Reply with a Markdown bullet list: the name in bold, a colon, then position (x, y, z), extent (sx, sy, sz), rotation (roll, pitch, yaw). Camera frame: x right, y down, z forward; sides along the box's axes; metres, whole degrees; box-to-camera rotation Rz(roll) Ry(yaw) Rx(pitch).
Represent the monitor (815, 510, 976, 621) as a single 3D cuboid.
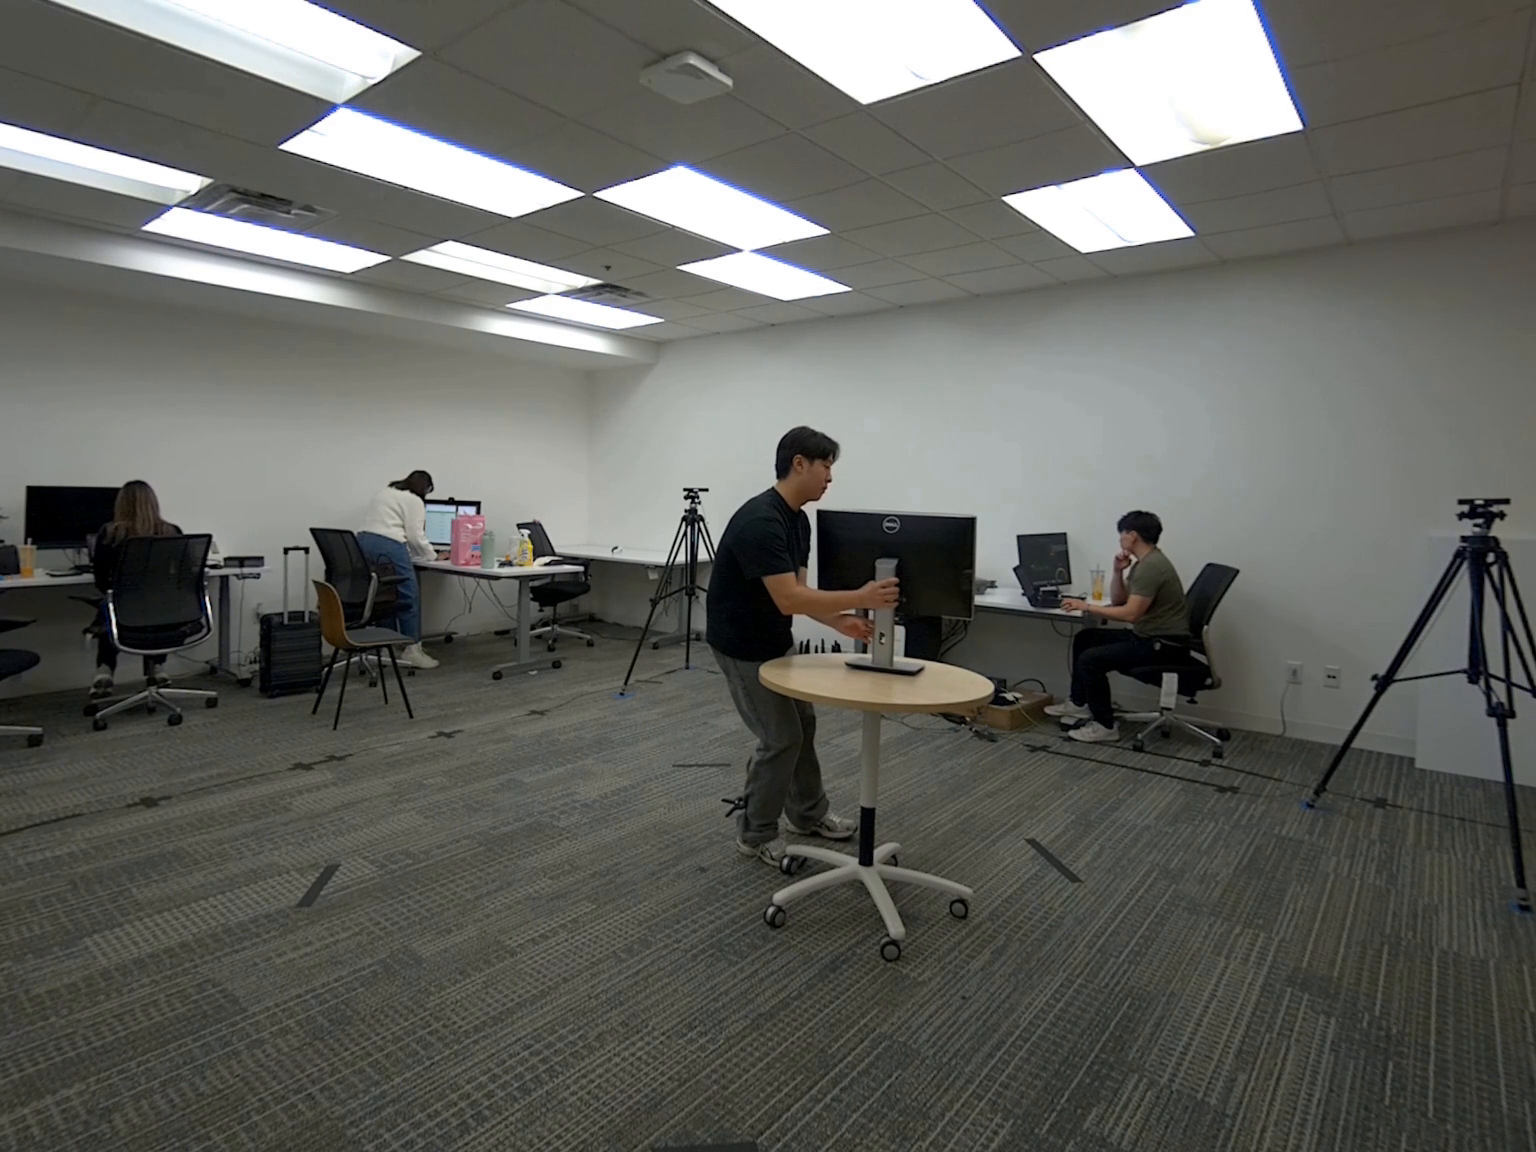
- **monitor**: position (0.415, 0.055, 2.967), extent (0.577, 0.566, 0.216), rotation (4, -1, 26)
